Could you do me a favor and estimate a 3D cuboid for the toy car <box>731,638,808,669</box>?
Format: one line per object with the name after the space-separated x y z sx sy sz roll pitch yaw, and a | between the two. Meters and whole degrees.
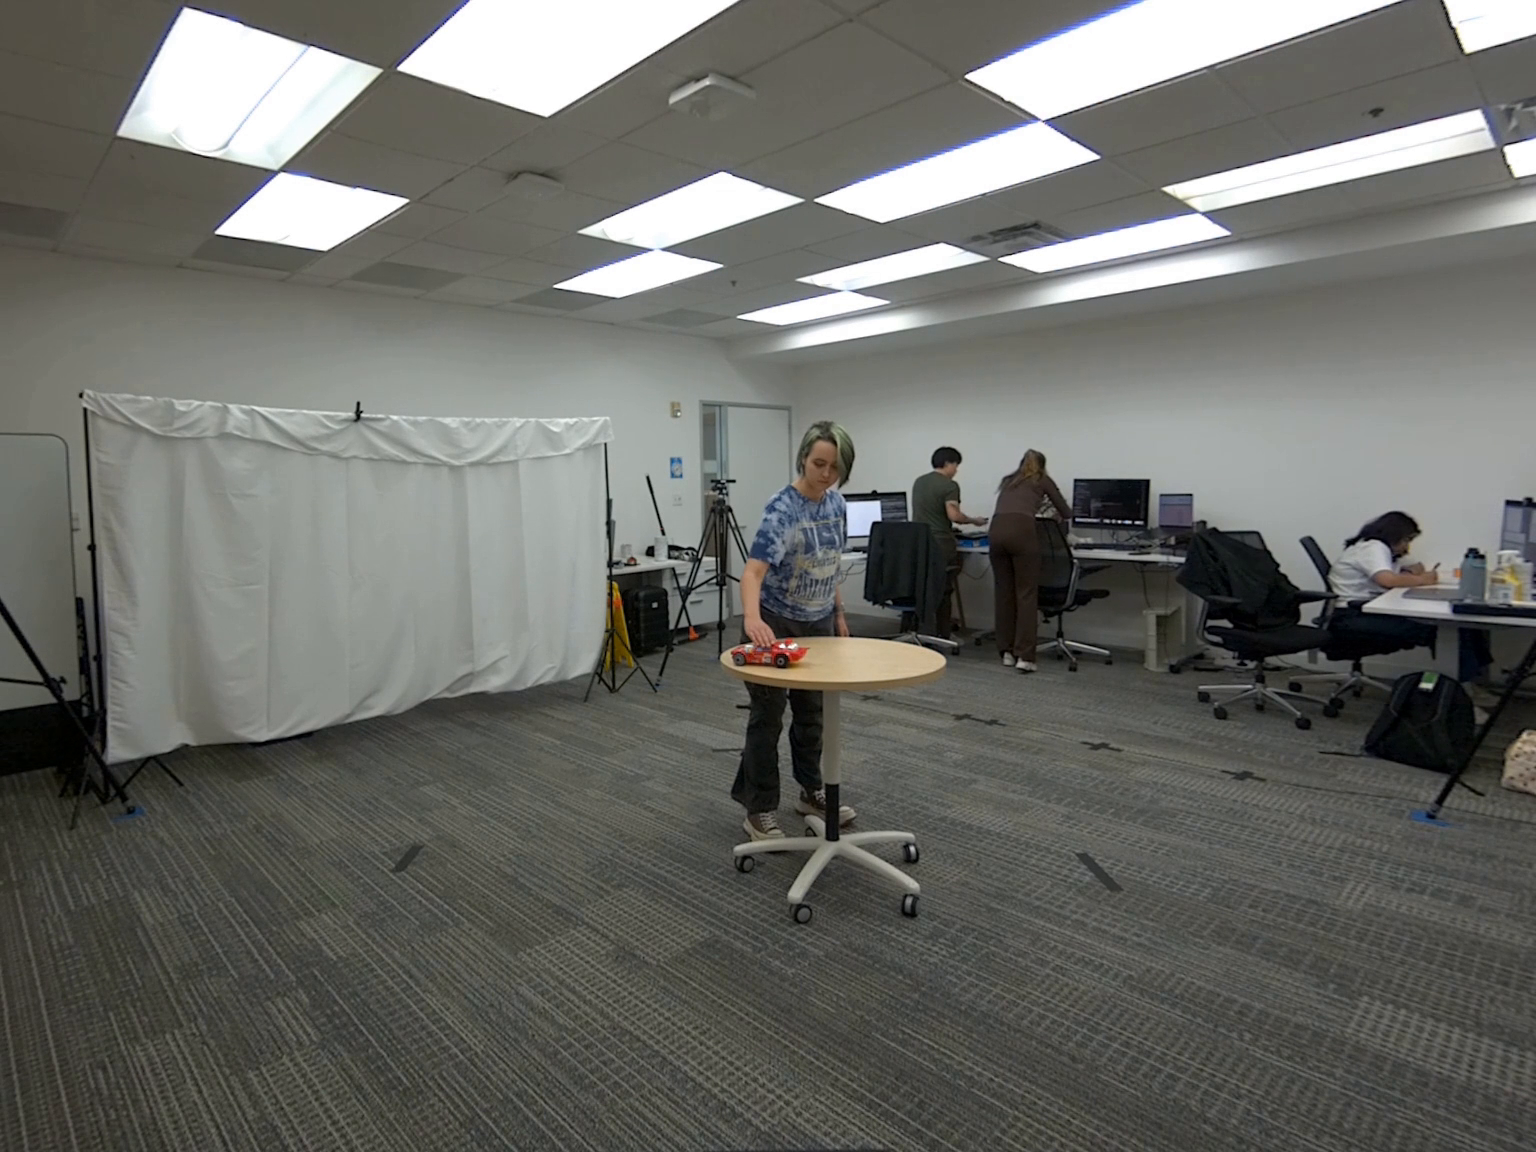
0.012 0.264 2.823 0.259 0.083 0.128 -10 1 21 | toy car
